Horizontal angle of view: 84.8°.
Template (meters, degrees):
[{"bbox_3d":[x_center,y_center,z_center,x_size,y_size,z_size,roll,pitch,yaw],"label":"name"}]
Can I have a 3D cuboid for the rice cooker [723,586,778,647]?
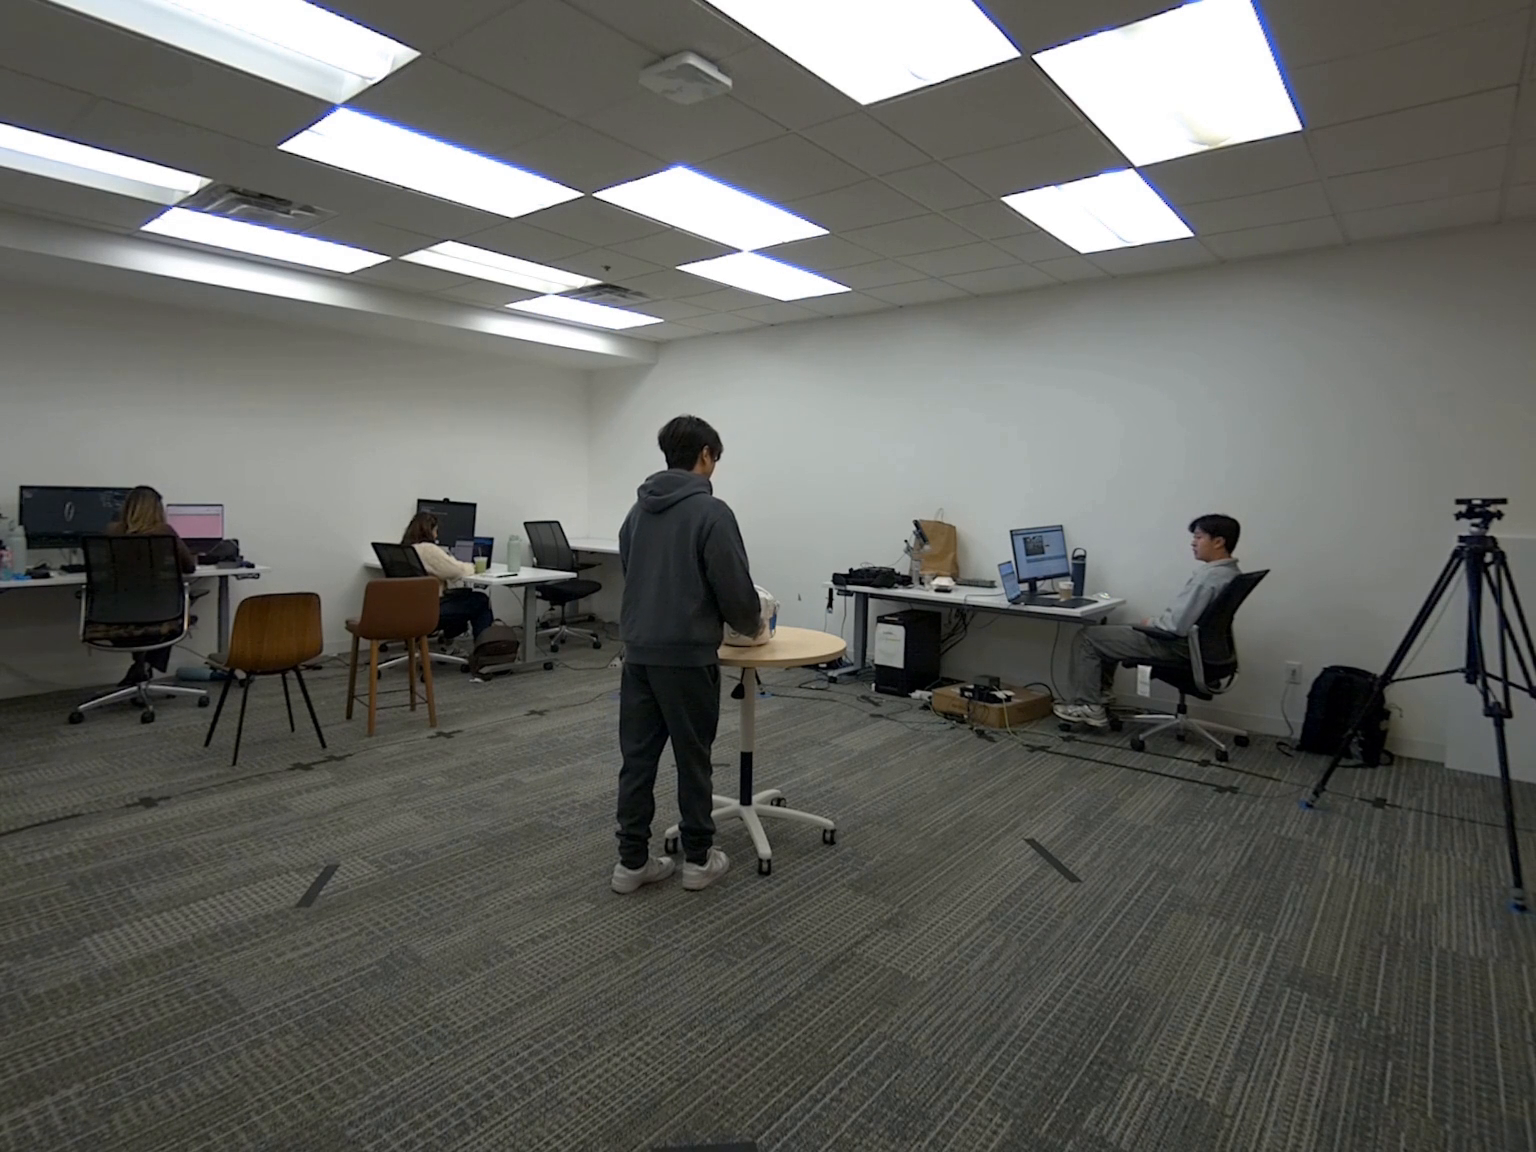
[{"bbox_3d":[-0.090,0.144,3.298,0.226,0.232,0.213,3,5,23],"label":"rice cooker"}]
